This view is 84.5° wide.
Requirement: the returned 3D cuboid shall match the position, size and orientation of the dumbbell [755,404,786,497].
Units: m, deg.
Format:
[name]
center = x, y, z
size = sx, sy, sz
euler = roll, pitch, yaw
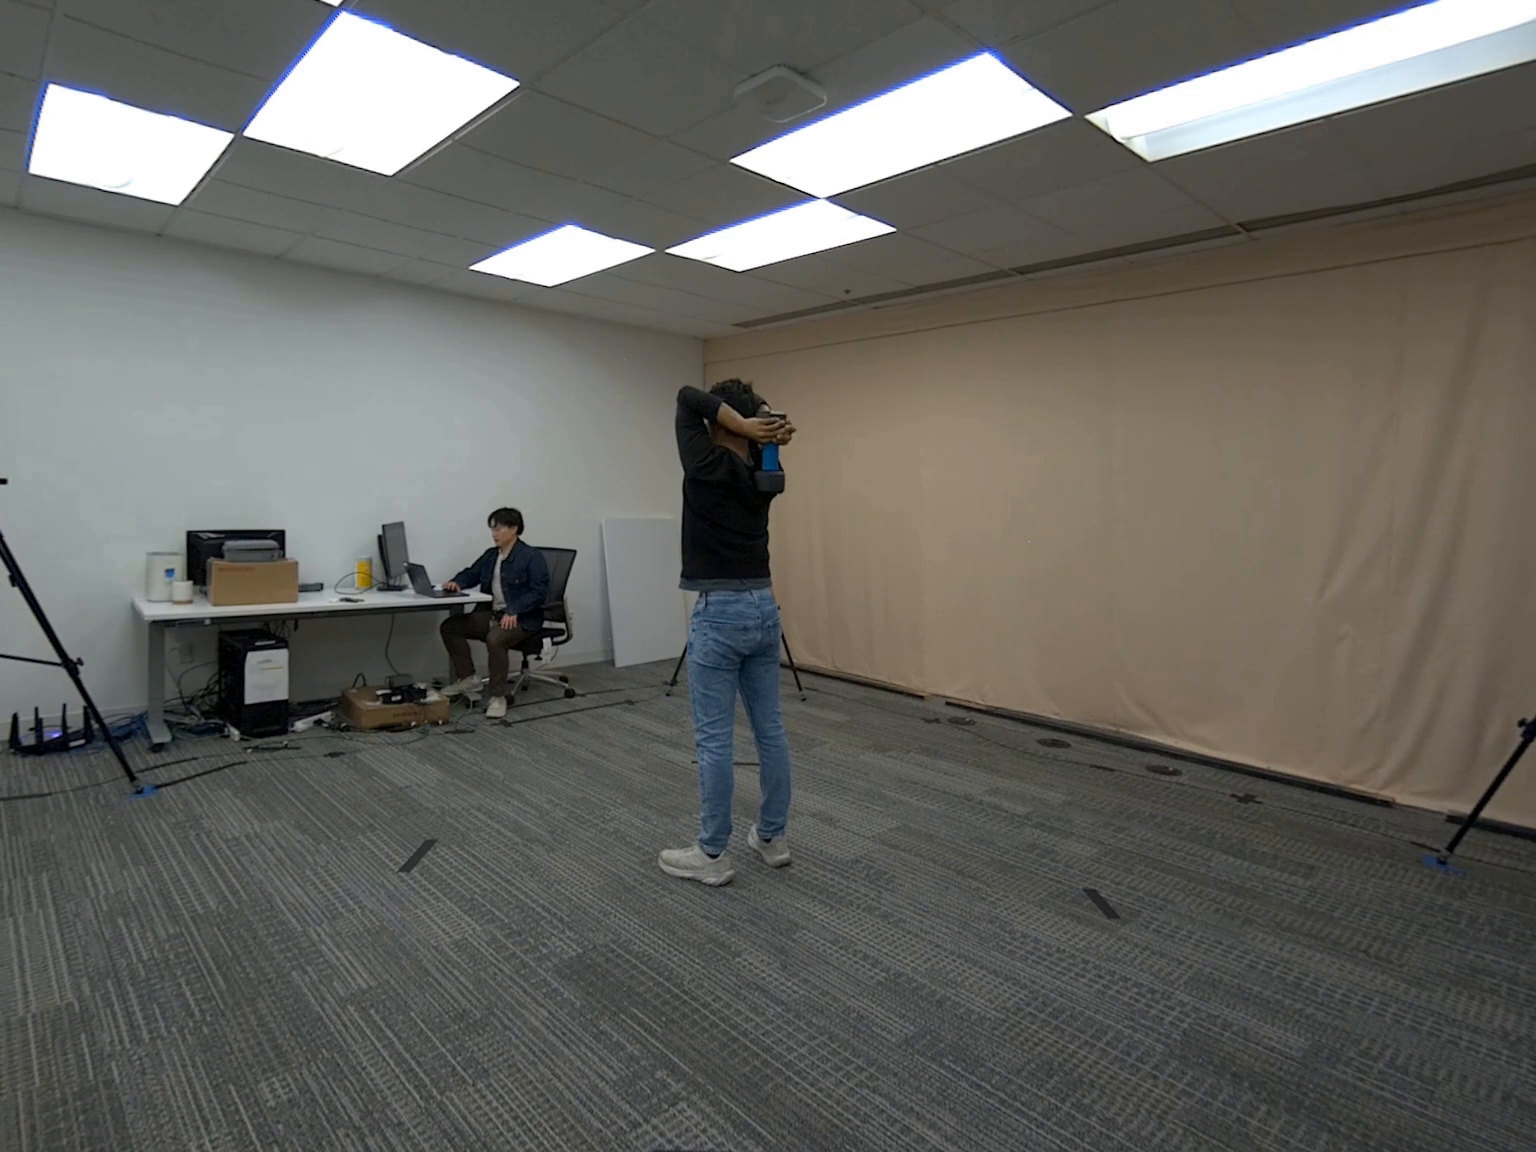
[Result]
[dumbbell]
center = -0.013, -0.461, 3.027
size = 0.120, 0.293, 0.111
euler = 0, 1, -34
